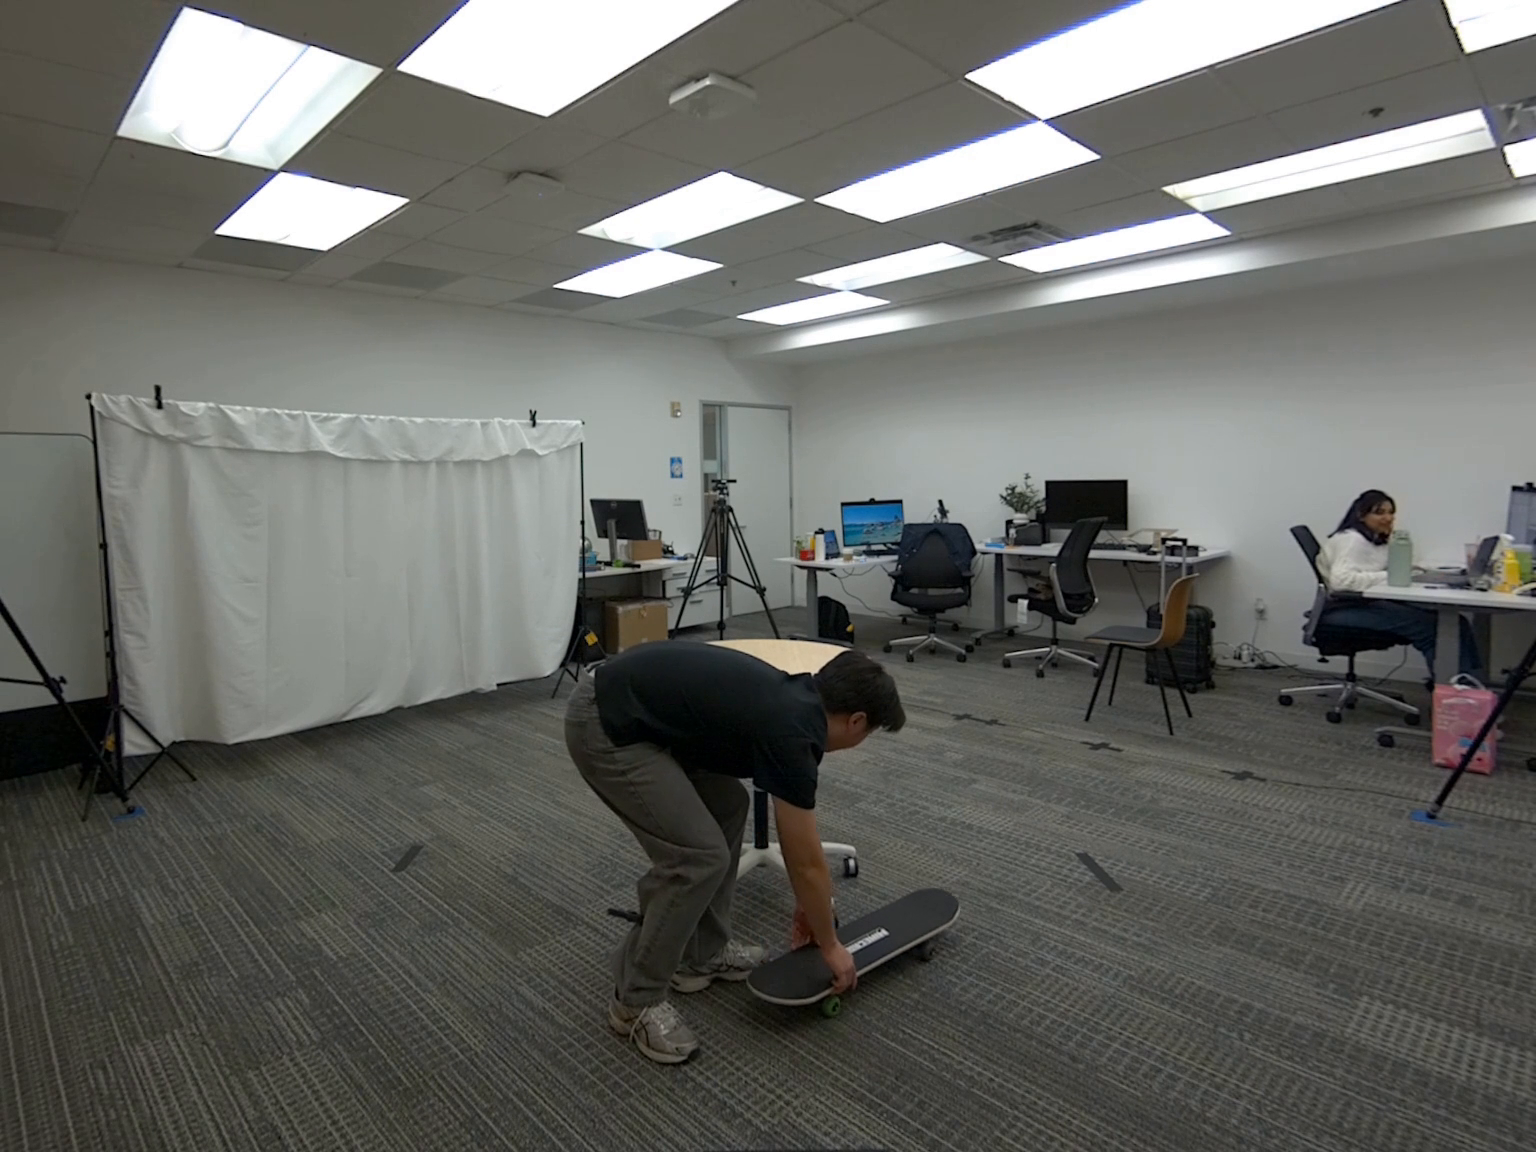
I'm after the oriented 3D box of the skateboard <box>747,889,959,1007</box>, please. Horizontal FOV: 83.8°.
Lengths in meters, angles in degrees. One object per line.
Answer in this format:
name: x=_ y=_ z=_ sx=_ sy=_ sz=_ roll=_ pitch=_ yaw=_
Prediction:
skateboard: x=0.275 y=1.070 z=2.403 sx=0.765 sy=0.110 sz=0.199 roll=-7 pitch=8 yaw=-39
